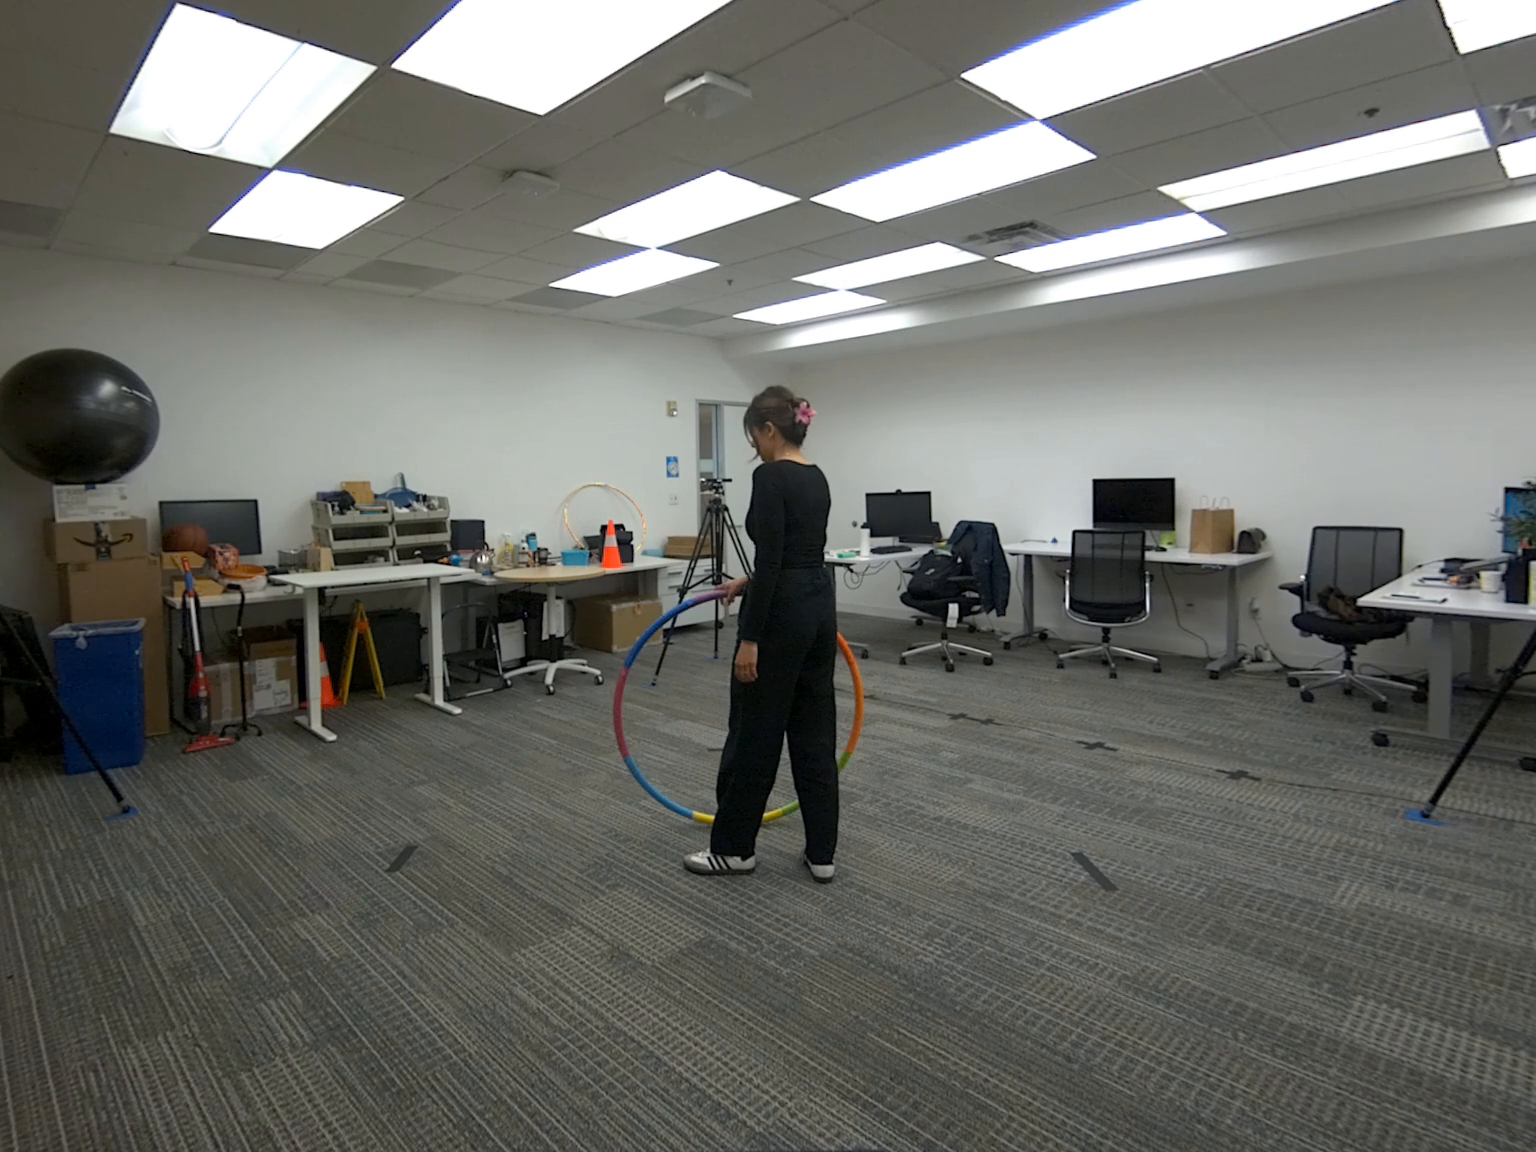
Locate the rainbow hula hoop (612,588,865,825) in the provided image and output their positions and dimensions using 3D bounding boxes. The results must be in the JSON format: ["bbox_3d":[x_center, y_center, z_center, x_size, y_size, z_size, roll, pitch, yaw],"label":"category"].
[{"bbox_3d":[-0.107,0.519,3.376,0.974,0.971,0.036,-1,8,-4],"label":"rainbow hula hoop"}]
